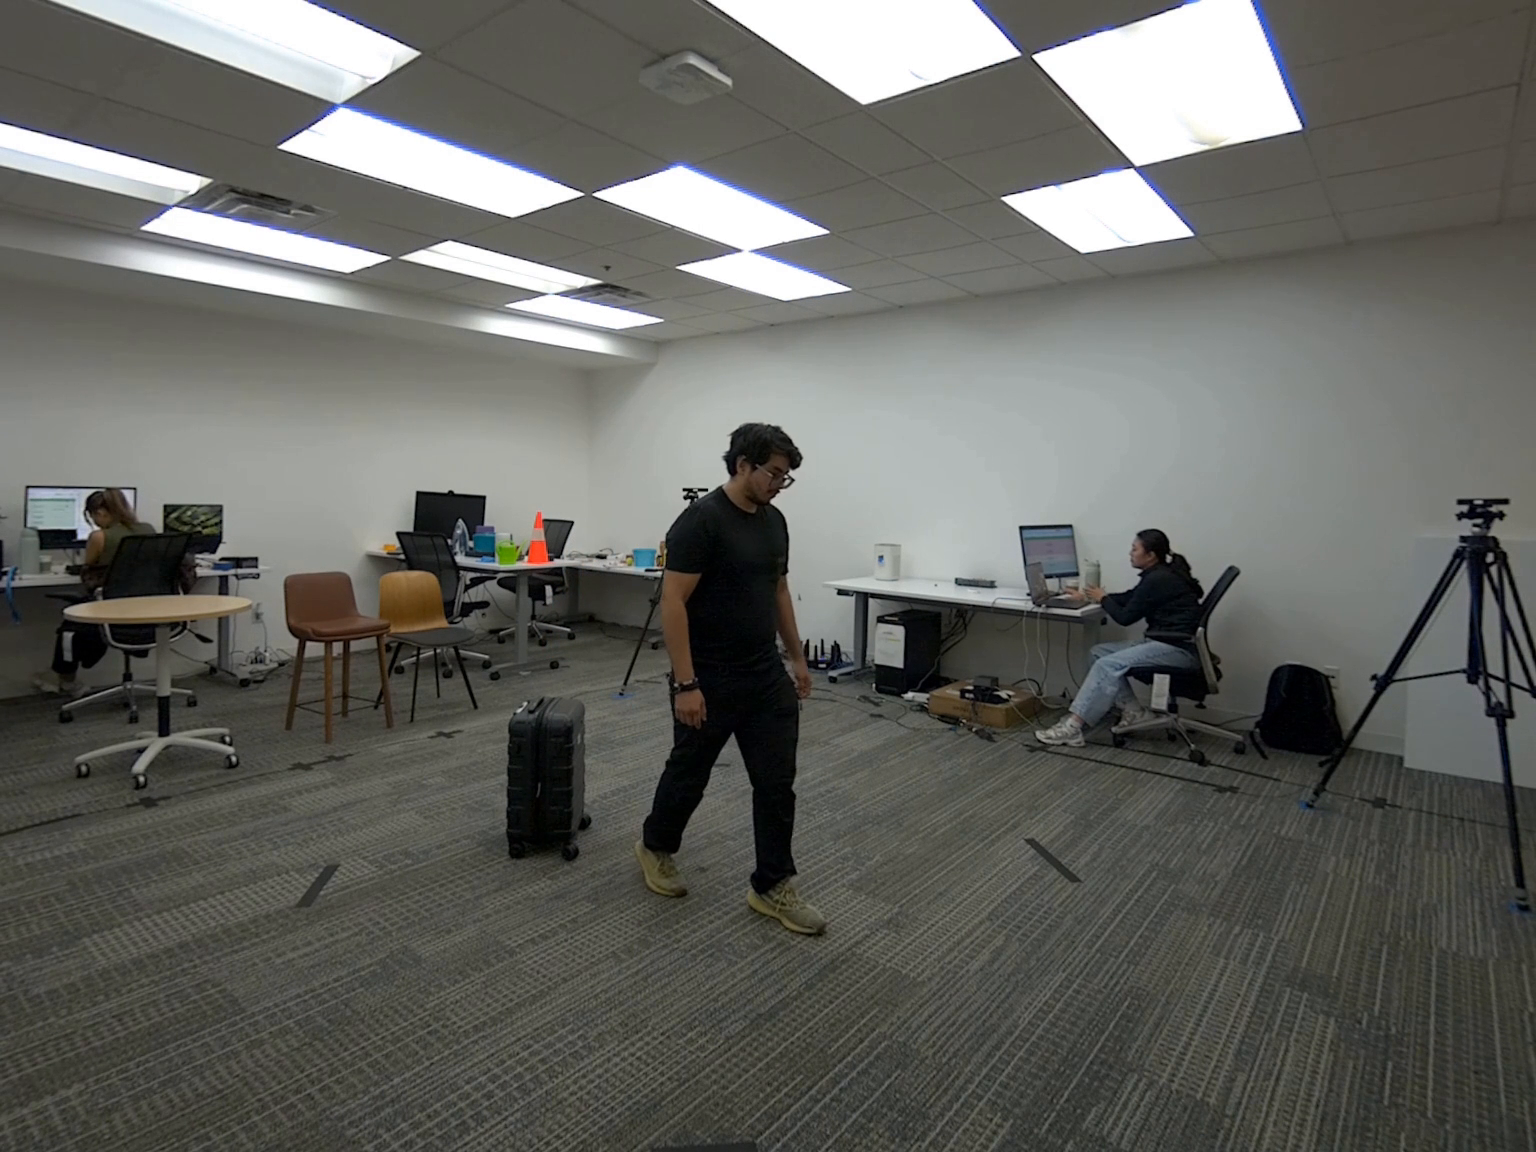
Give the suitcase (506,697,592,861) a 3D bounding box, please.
[{"bbox_3d":[-0.876,0.761,3.322,0.248,0.548,0.377,1,3,-2],"label":"suitcase"}]
